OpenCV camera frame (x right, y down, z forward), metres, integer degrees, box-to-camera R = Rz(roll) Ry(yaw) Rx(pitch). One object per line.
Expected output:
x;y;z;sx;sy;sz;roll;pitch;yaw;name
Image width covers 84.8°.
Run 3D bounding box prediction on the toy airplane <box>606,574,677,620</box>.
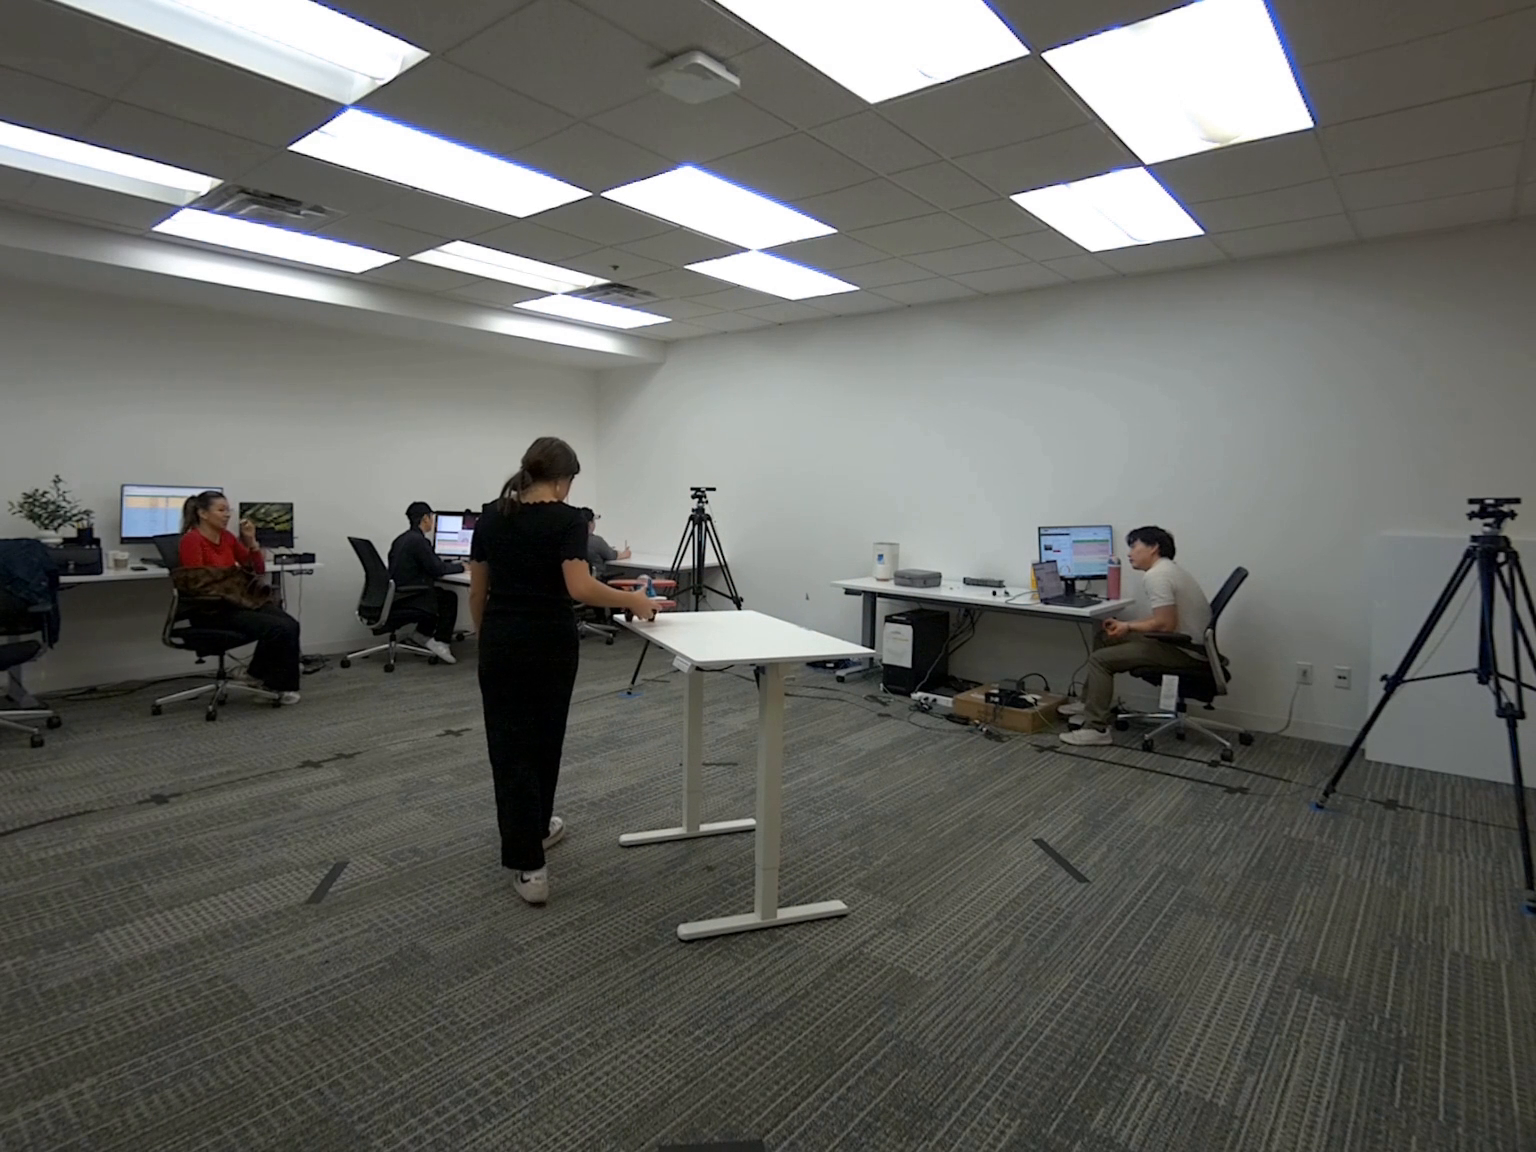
-0.459;0.076;3.168;0.265;0.158;0.242;-15;-14;42;toy airplane
